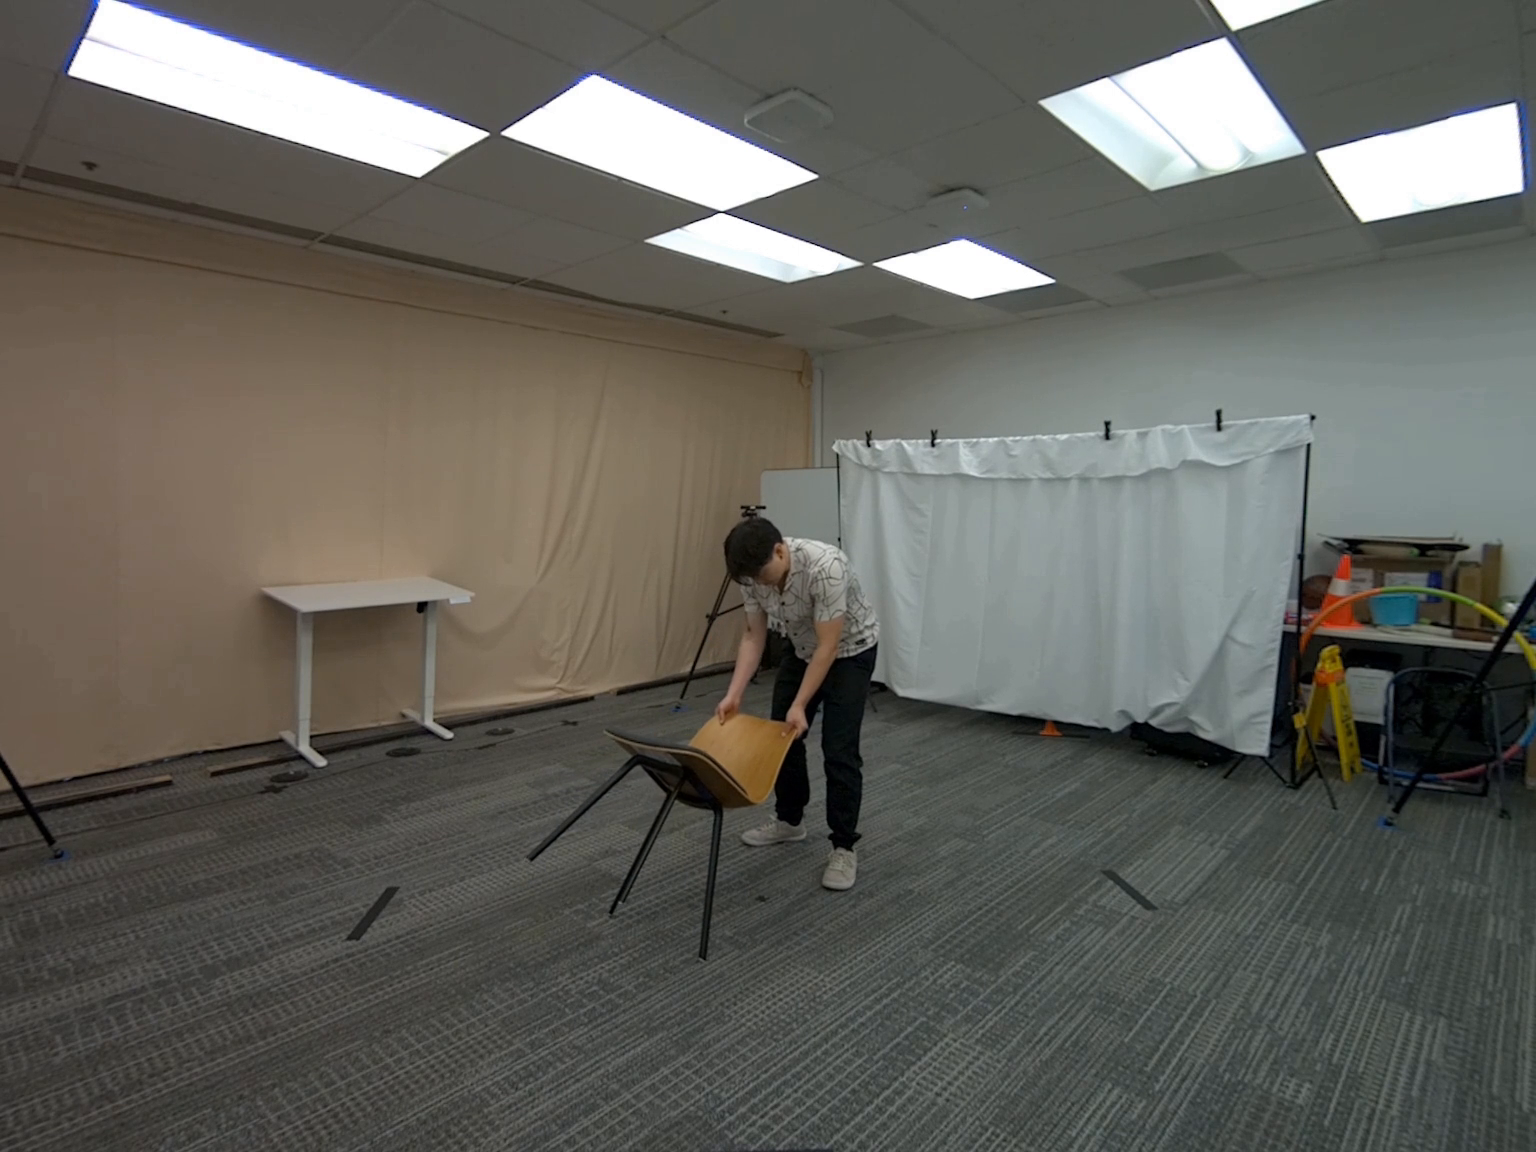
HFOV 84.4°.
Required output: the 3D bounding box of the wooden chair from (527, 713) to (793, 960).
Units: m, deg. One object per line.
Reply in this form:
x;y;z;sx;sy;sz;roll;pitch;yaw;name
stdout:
-0.297;0.687;2.780;0.494;0.876;0.507;2;-41;42;wooden chair
